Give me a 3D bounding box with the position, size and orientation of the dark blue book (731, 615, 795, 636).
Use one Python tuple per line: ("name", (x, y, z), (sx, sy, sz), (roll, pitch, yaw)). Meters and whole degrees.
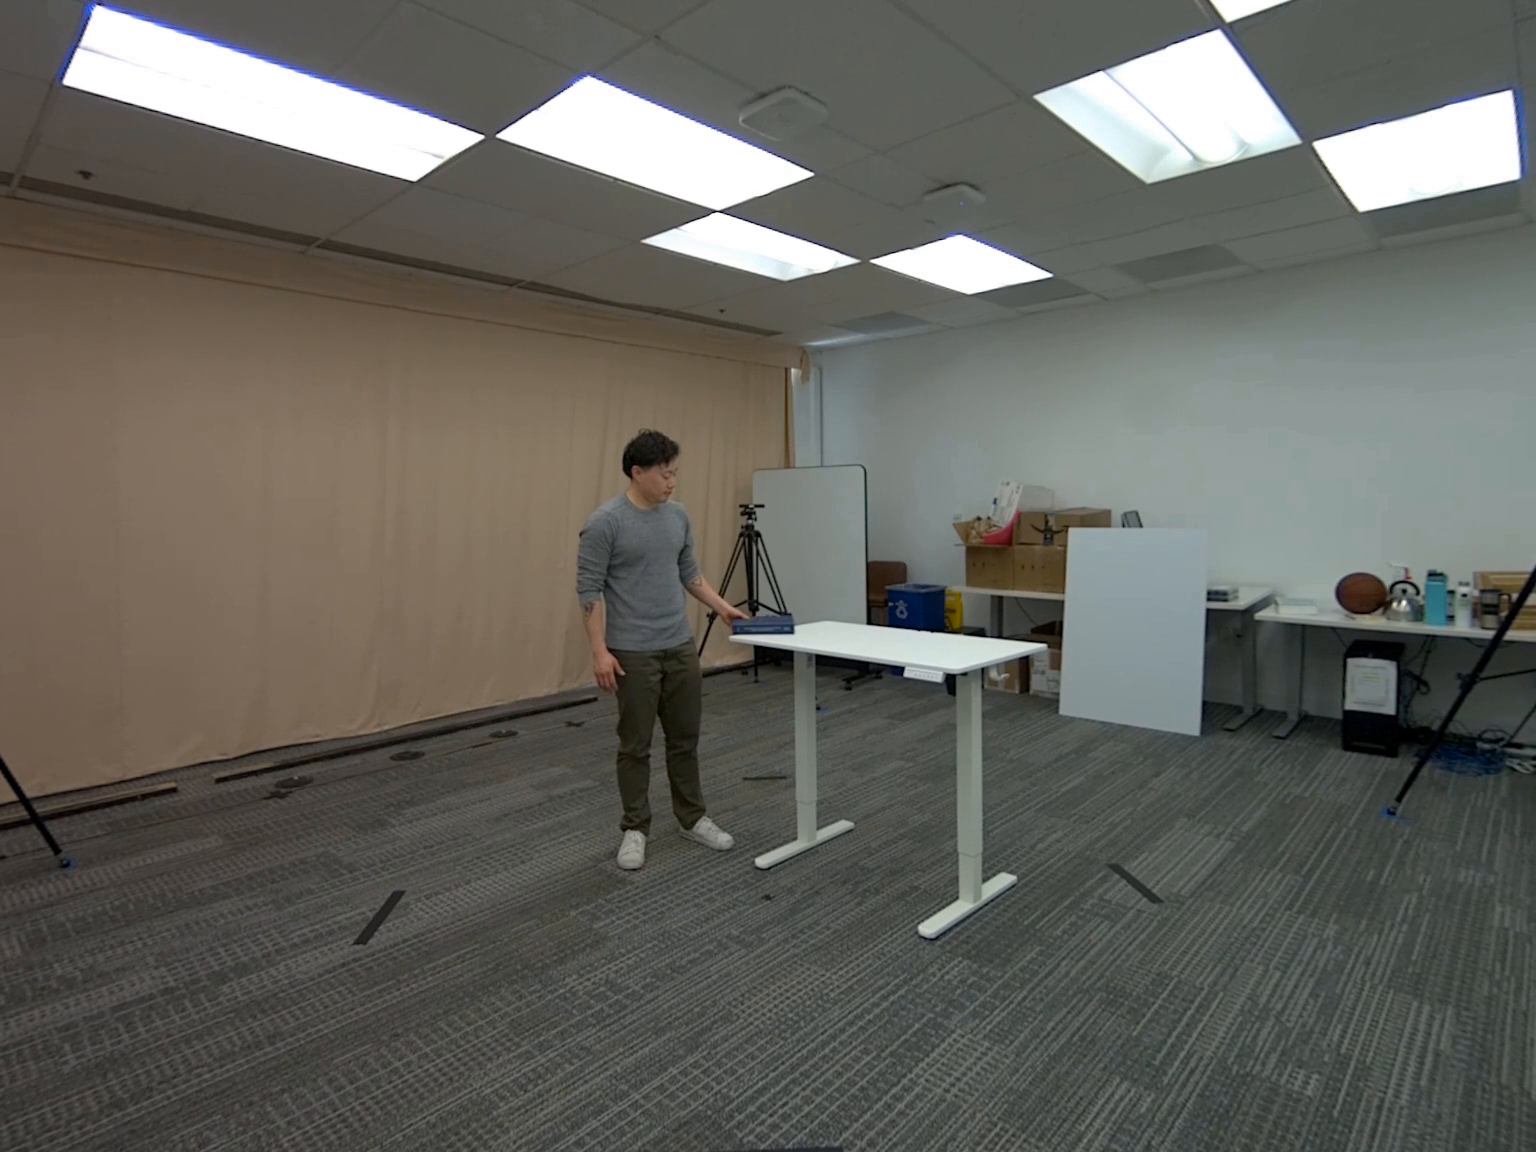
("dark blue book", (-0.013, 0.197, 3.378), (0.247, 0.045, 0.163), (-1, 7, 5))
